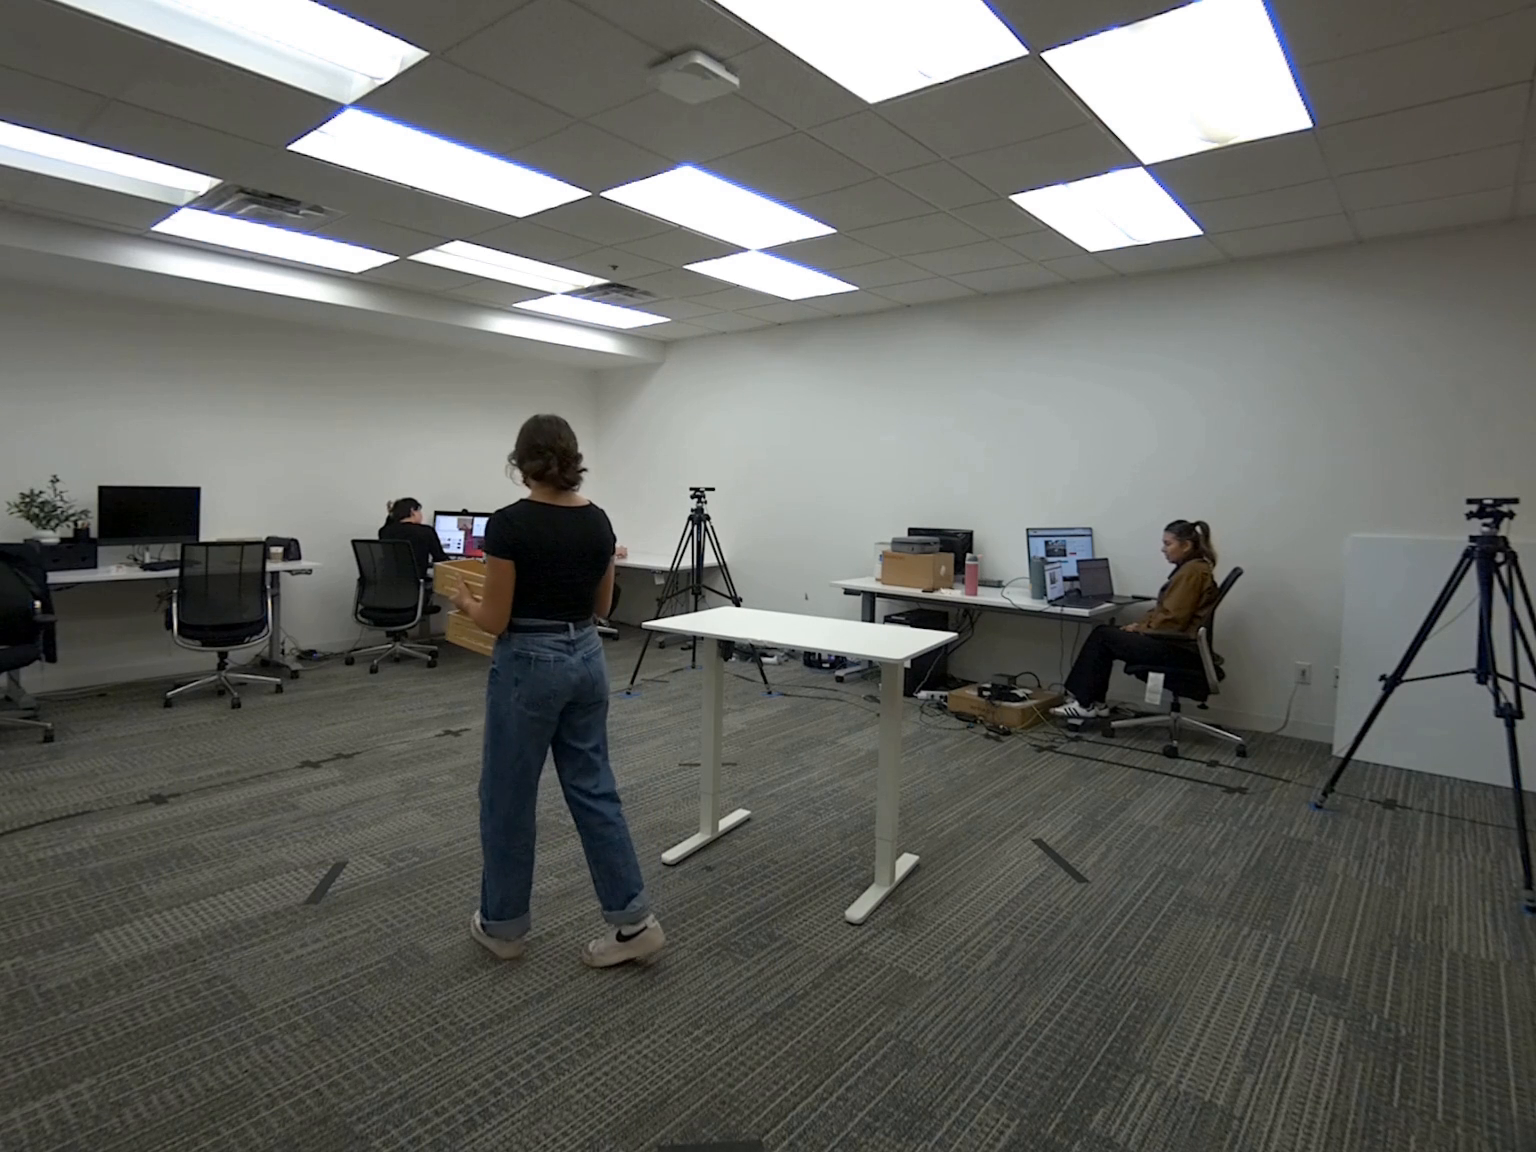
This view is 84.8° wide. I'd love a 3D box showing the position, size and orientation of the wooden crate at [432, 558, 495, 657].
[{"bbox_3d":[-0.859,0.090,2.719,0.336,0.271,0.294,11,12,34],"label":"wooden crate"}]
